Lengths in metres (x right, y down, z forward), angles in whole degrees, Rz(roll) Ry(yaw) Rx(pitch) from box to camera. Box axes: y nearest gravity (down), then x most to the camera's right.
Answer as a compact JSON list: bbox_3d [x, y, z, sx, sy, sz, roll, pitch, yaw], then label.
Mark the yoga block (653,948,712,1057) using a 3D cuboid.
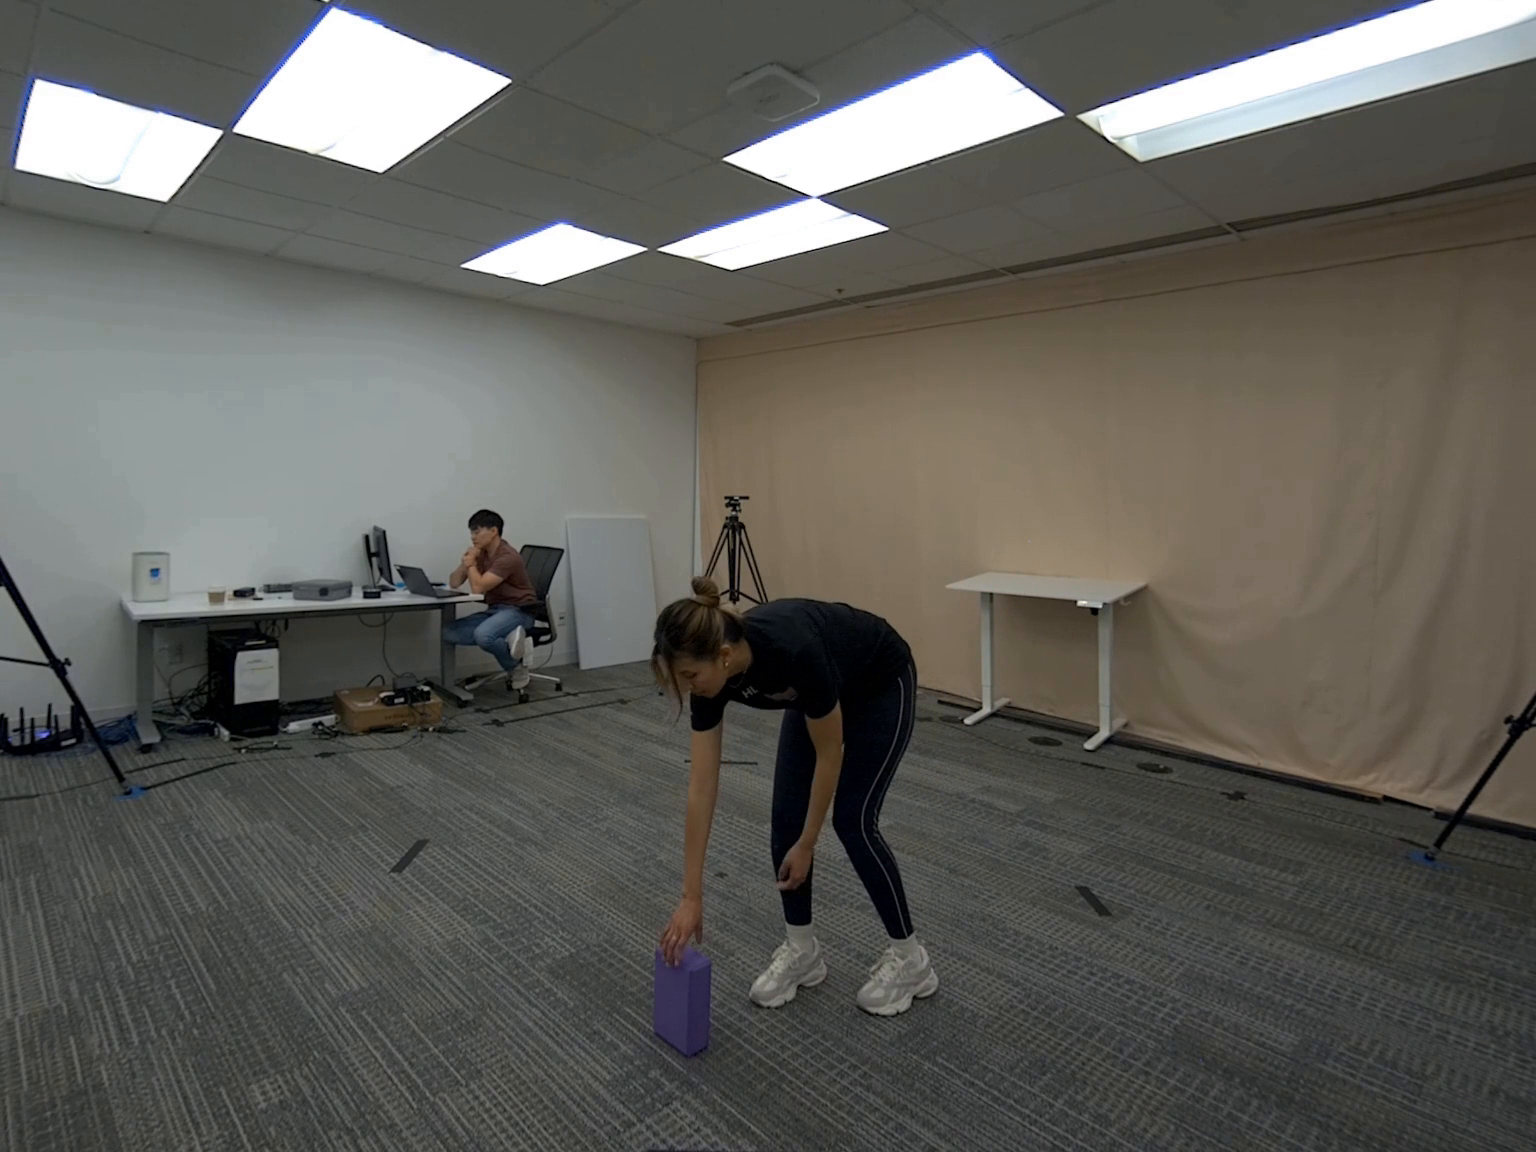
[{"bbox_3d":[-0.224,1.078,2.143,0.153,0.229,0.074,4,3,43],"label":"yoga block"}]
